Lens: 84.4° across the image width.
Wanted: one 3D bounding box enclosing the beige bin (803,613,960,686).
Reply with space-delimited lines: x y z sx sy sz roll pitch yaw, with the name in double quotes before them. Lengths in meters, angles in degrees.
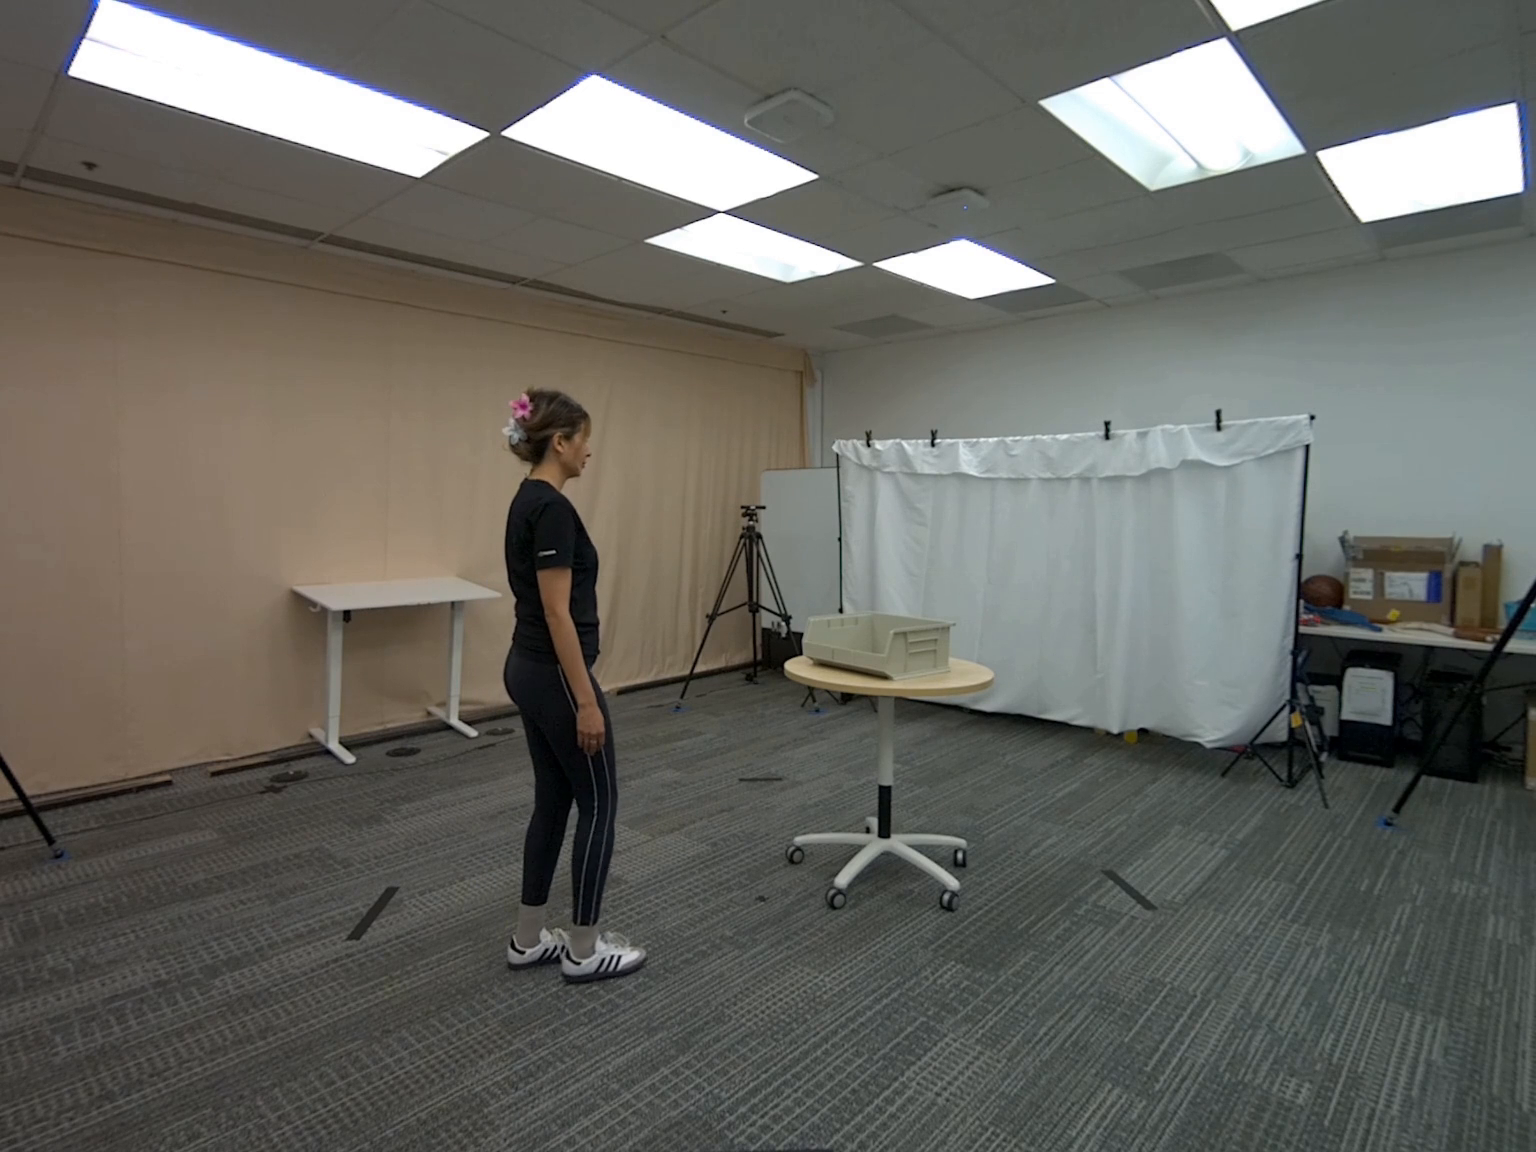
"beige bin" 0.416 0.258 3.147 0.366 0.189 0.436 -1 4 -40
